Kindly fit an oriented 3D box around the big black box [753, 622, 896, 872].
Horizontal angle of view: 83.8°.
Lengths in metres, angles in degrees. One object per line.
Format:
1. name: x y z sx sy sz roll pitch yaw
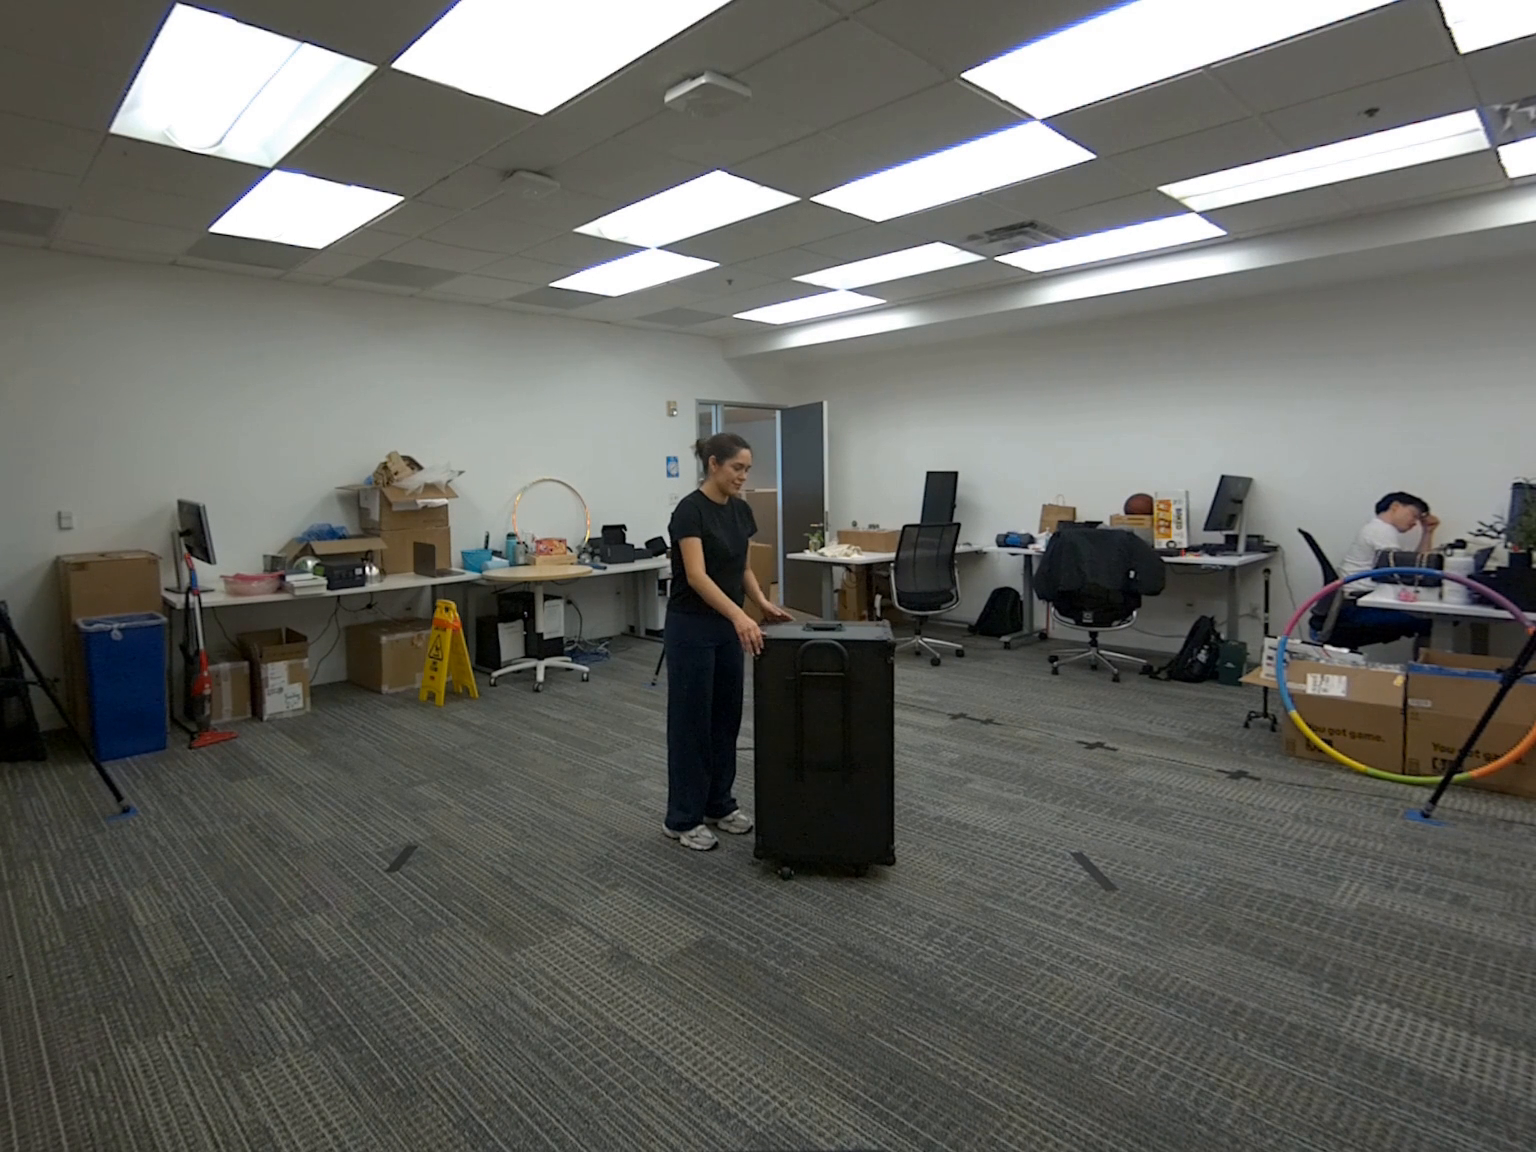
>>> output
1. big black box: 0.206 0.620 3.101 0.525 0.858 0.395 0 4 7
